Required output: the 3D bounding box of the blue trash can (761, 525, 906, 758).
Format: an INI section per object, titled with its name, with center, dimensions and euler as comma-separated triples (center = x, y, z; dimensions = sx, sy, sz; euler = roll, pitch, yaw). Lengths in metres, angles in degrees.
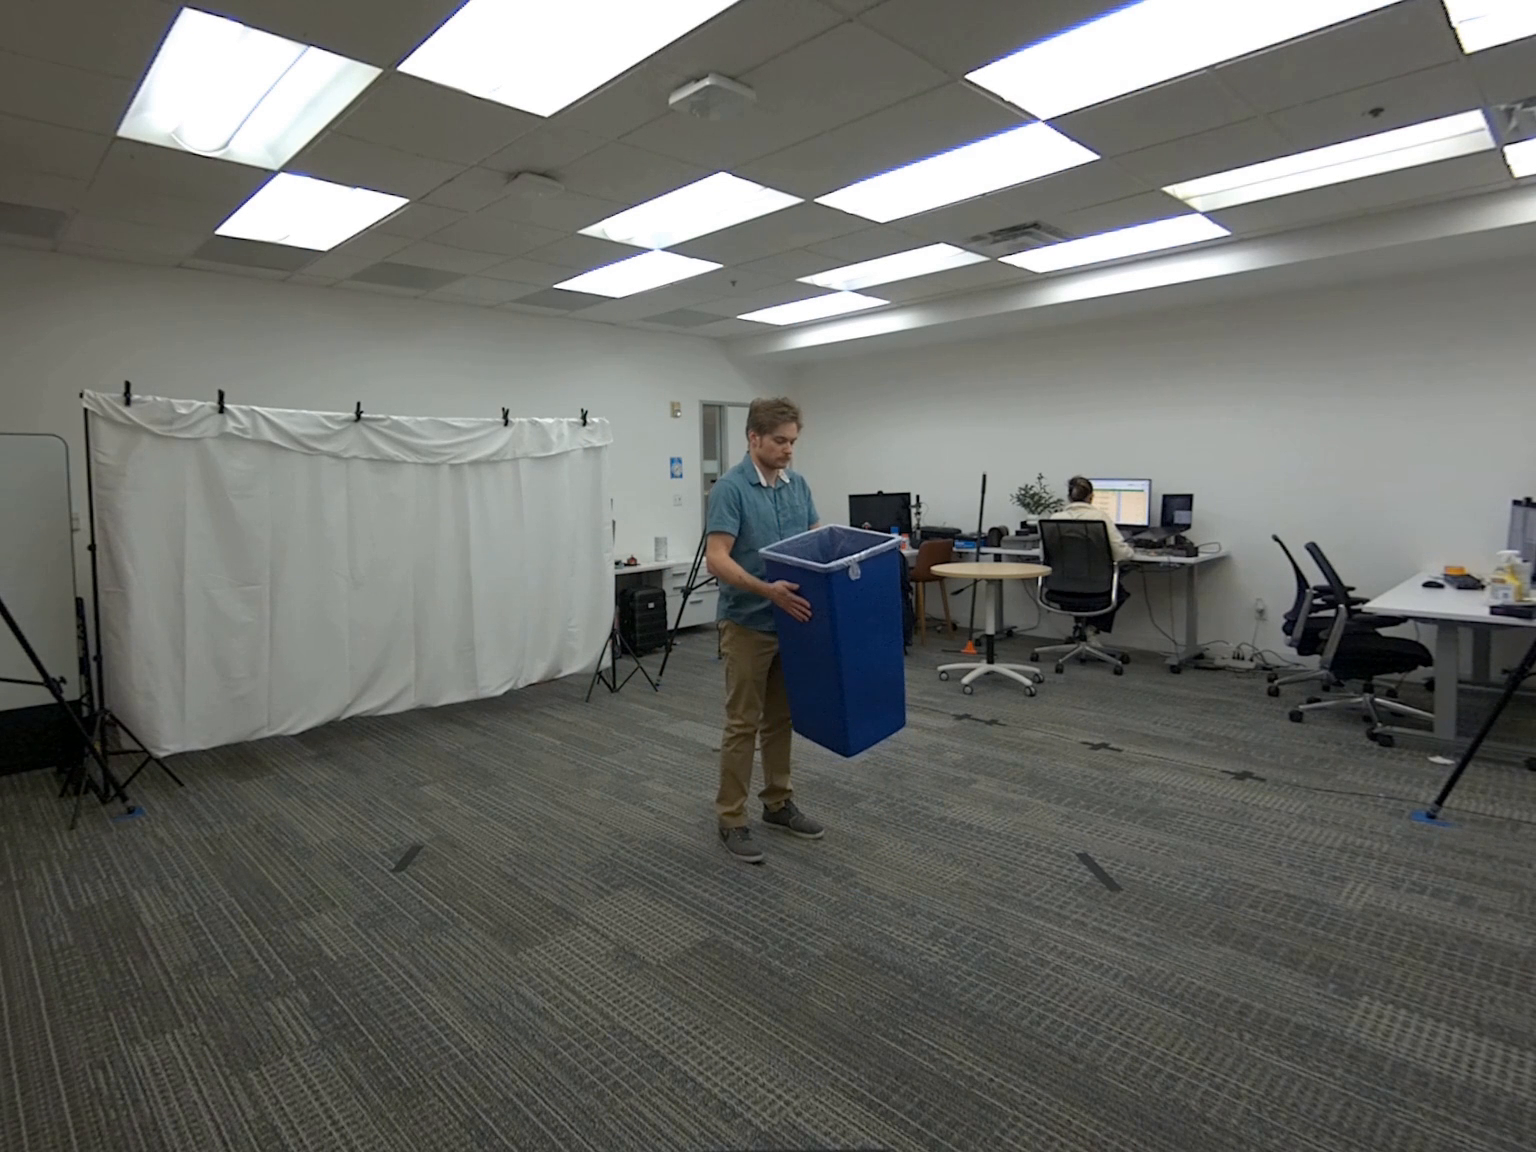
[blue trash can]
center = 0.259, 0.233, 3.026
dimensions = 0.367, 0.703, 0.391
euler = -18, 19, -33
